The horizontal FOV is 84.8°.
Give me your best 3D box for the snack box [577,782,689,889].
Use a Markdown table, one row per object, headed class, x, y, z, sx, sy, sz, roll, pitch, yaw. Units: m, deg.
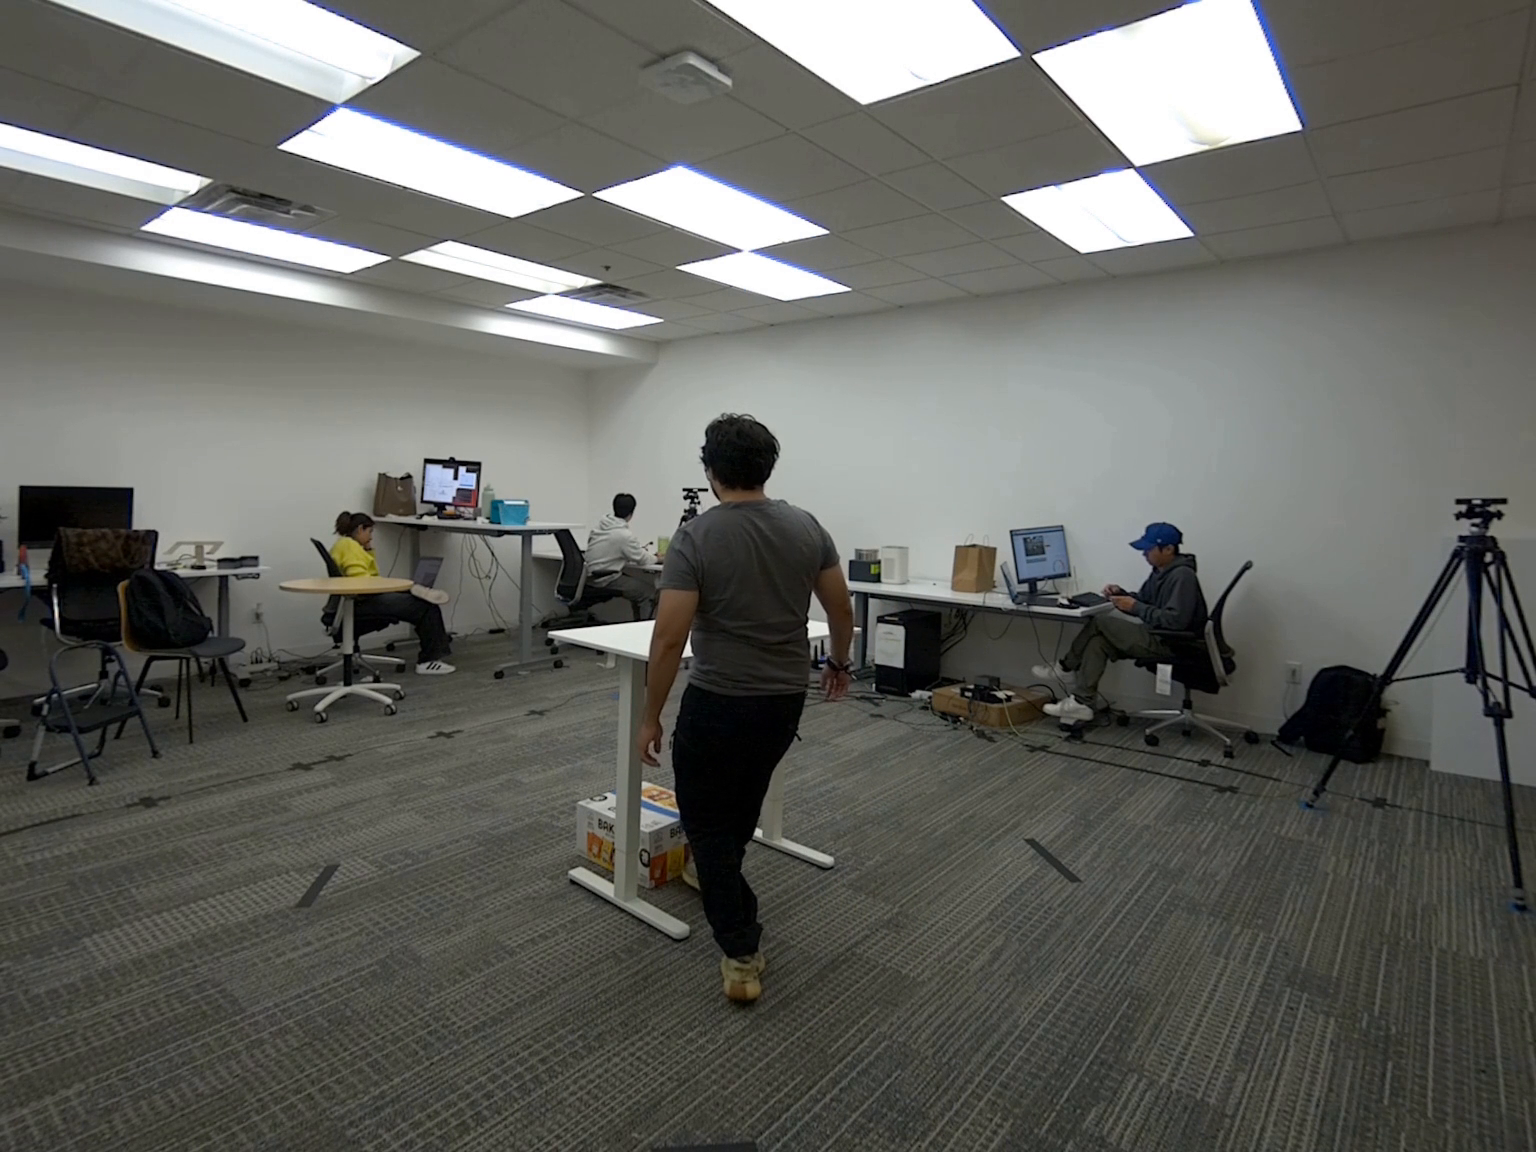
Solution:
| class | x | y | z | sx | sy | sz | roll | pitch | yaw |
| --- | --- | --- | --- | --- | --- | --- | --- | --- | --- |
| snack box | -0.470 | 0.956 | 3.189 | 0.419 | 0.205 | 0.330 | 5 | 7 | 41 |
